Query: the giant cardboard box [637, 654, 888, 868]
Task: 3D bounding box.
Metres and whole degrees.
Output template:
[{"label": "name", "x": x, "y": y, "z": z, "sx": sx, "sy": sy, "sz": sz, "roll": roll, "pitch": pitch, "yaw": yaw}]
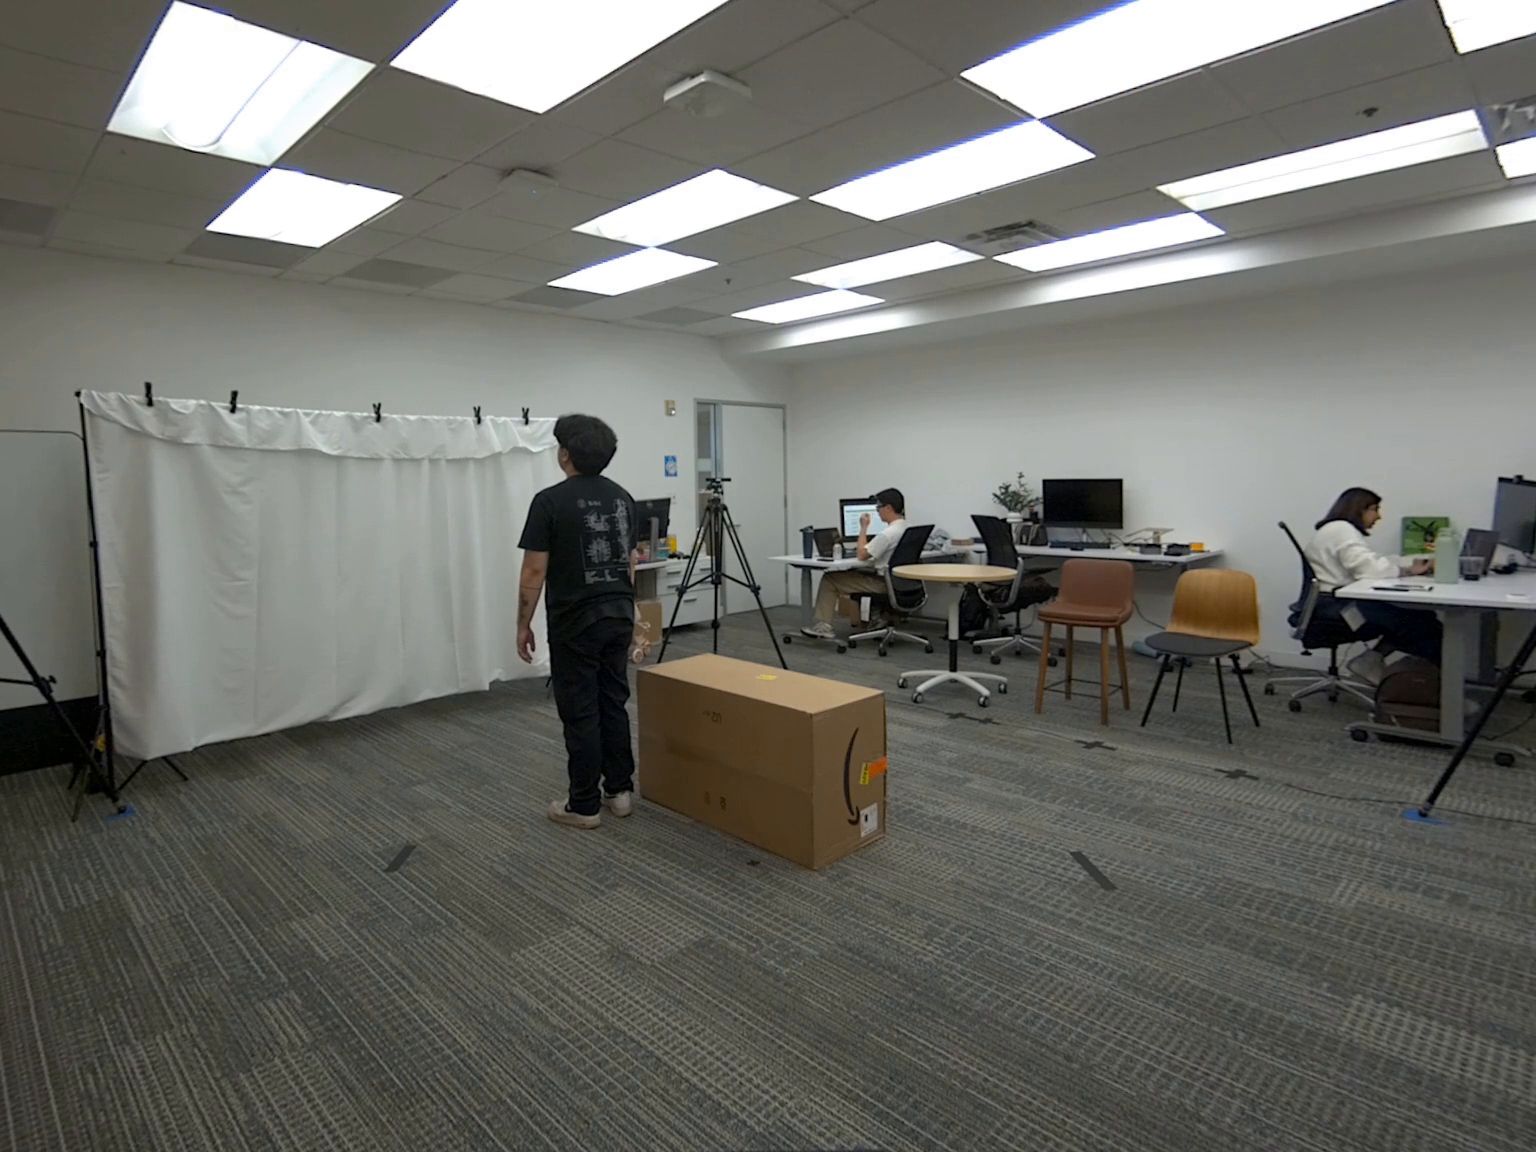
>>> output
[{"label": "giant cardboard box", "x": -0.053, "y": 0.710, "z": 3.527, "sx": 0.435, "sy": 0.582, "sz": 1.059, "roll": -4, "pitch": 7, "yaw": -44}]
